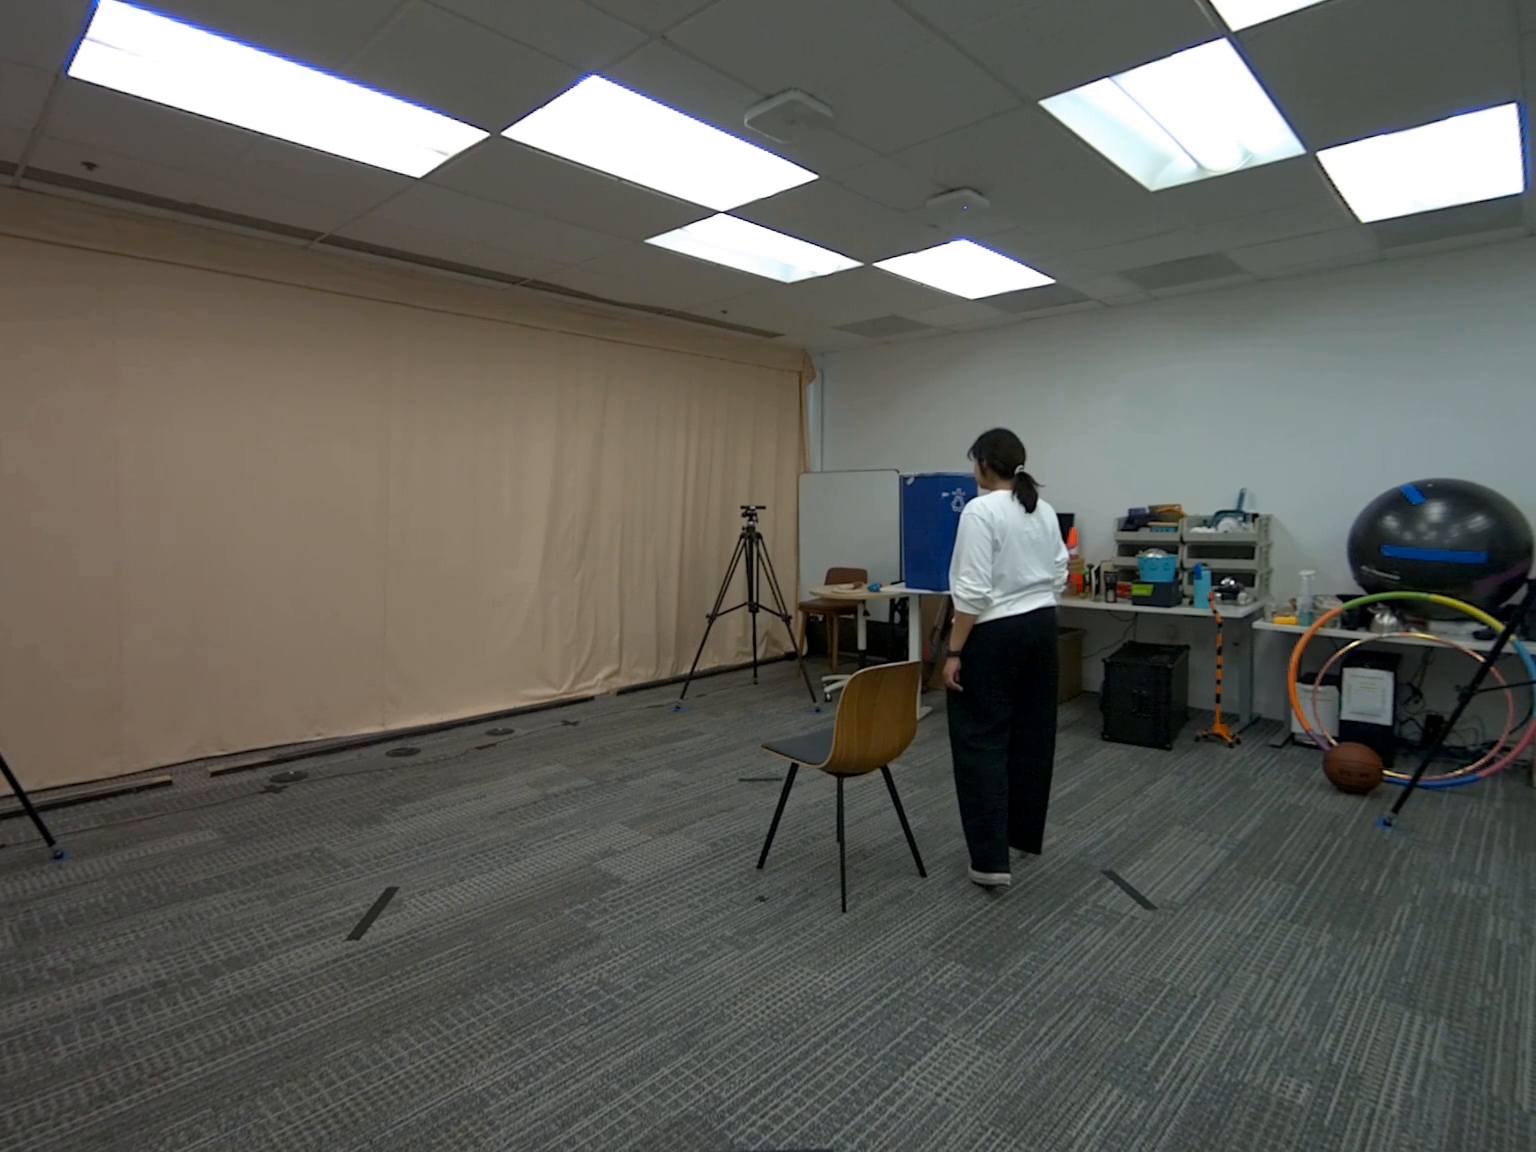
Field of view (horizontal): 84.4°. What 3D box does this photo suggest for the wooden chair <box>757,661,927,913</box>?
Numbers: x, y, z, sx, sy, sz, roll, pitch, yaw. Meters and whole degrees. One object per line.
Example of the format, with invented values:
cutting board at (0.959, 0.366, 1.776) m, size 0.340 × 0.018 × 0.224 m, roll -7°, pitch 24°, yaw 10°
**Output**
wooden chair at (0.274, 0.699, 3.163) m, size 0.463 × 0.874 × 0.541 m, roll -3°, pitch 9°, yaw -41°
